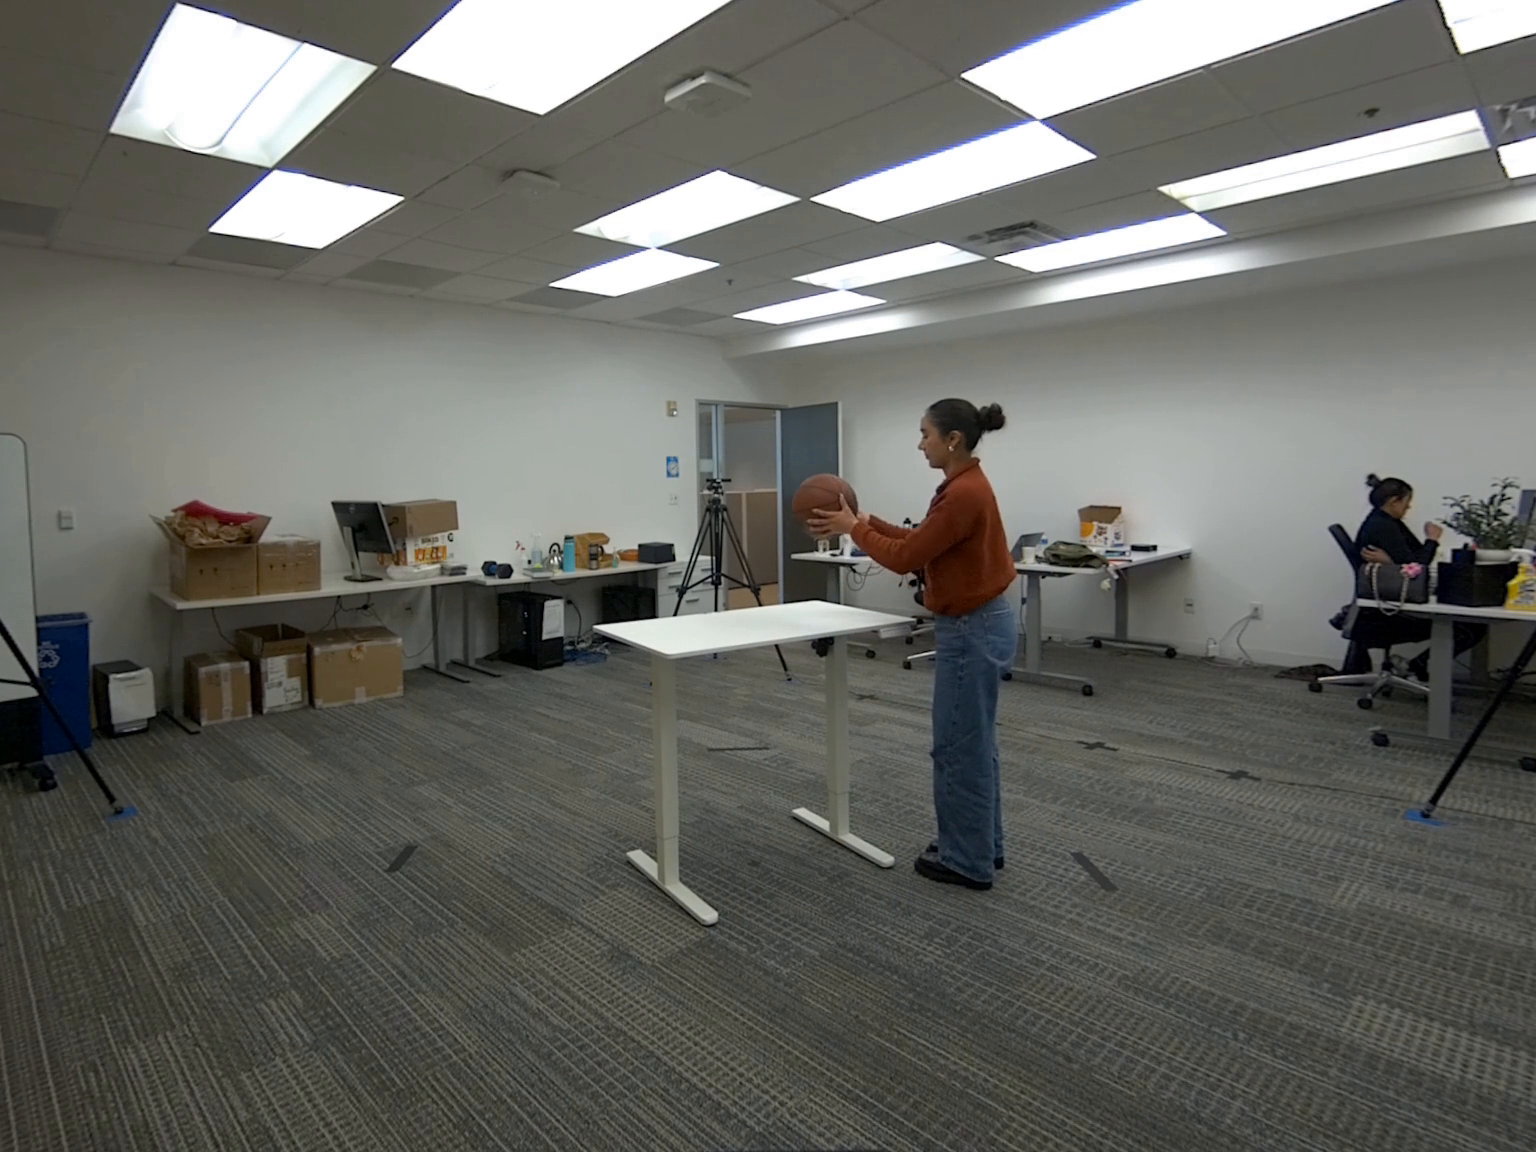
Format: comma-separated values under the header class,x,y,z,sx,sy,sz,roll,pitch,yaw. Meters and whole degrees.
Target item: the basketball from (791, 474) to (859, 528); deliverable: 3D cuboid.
class,x,y,z,sx,sy,sz,roll,pitch,yaw
basketball,0.207,-0.242,3.059,0.236,0.235,0.237,-1,5,-2
